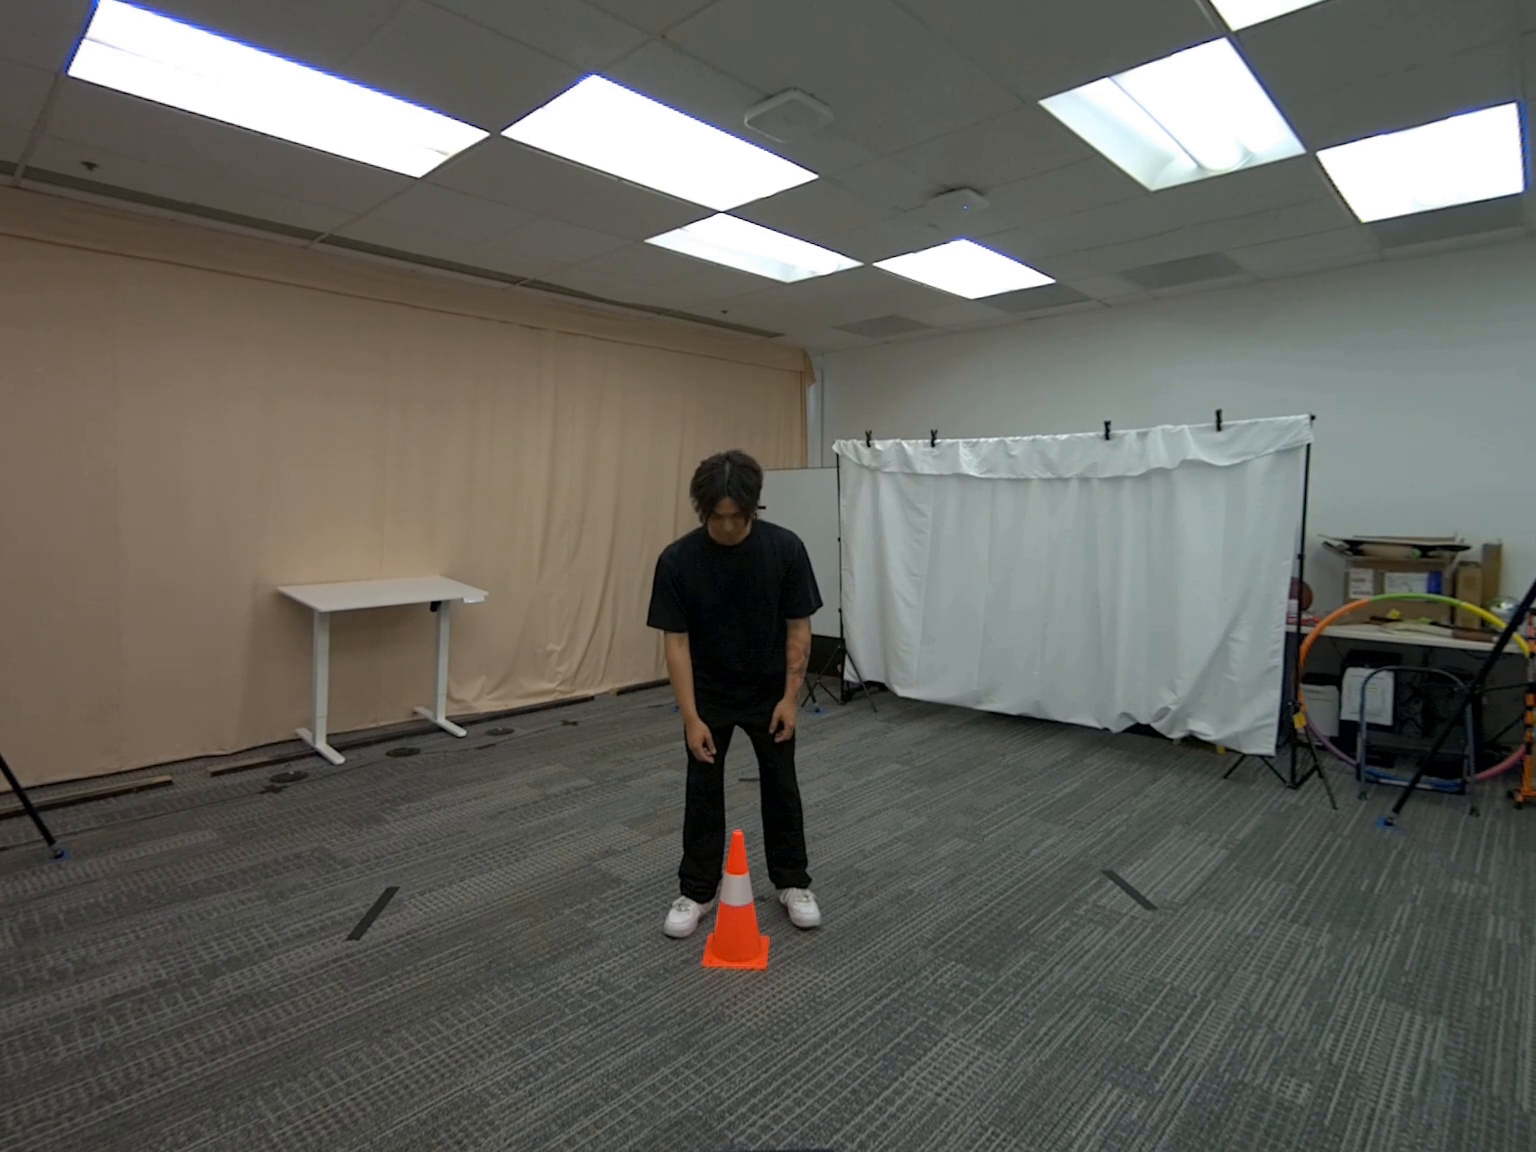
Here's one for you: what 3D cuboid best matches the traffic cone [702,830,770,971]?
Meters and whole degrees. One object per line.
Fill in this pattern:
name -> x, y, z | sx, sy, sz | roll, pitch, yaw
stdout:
traffic cone -> -0.105, 0.990, 2.625 | 0.206, 0.383, 0.203 | -1, 2, 3
